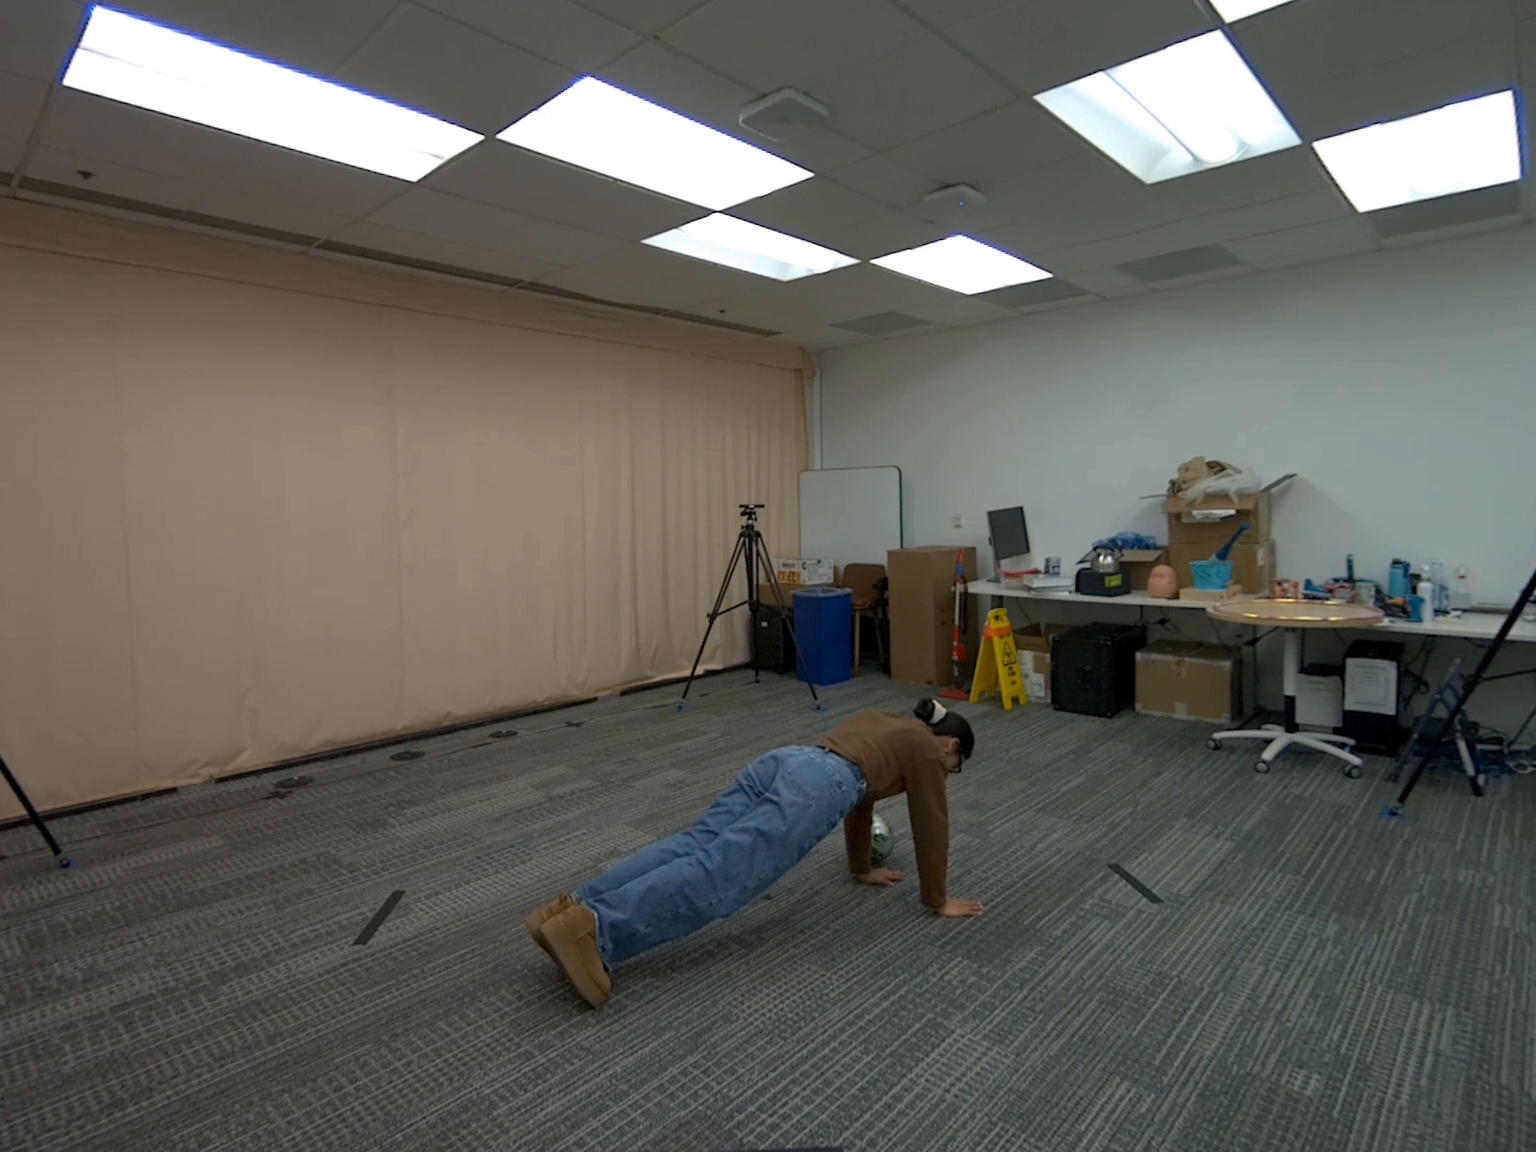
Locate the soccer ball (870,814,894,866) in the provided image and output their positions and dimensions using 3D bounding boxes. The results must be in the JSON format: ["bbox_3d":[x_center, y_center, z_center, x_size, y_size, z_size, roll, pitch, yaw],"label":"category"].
[{"bbox_3d":[0.400,1.016,3.261,0.187,0.187,0.188,-1,4,-2],"label":"soccer ball"}]
